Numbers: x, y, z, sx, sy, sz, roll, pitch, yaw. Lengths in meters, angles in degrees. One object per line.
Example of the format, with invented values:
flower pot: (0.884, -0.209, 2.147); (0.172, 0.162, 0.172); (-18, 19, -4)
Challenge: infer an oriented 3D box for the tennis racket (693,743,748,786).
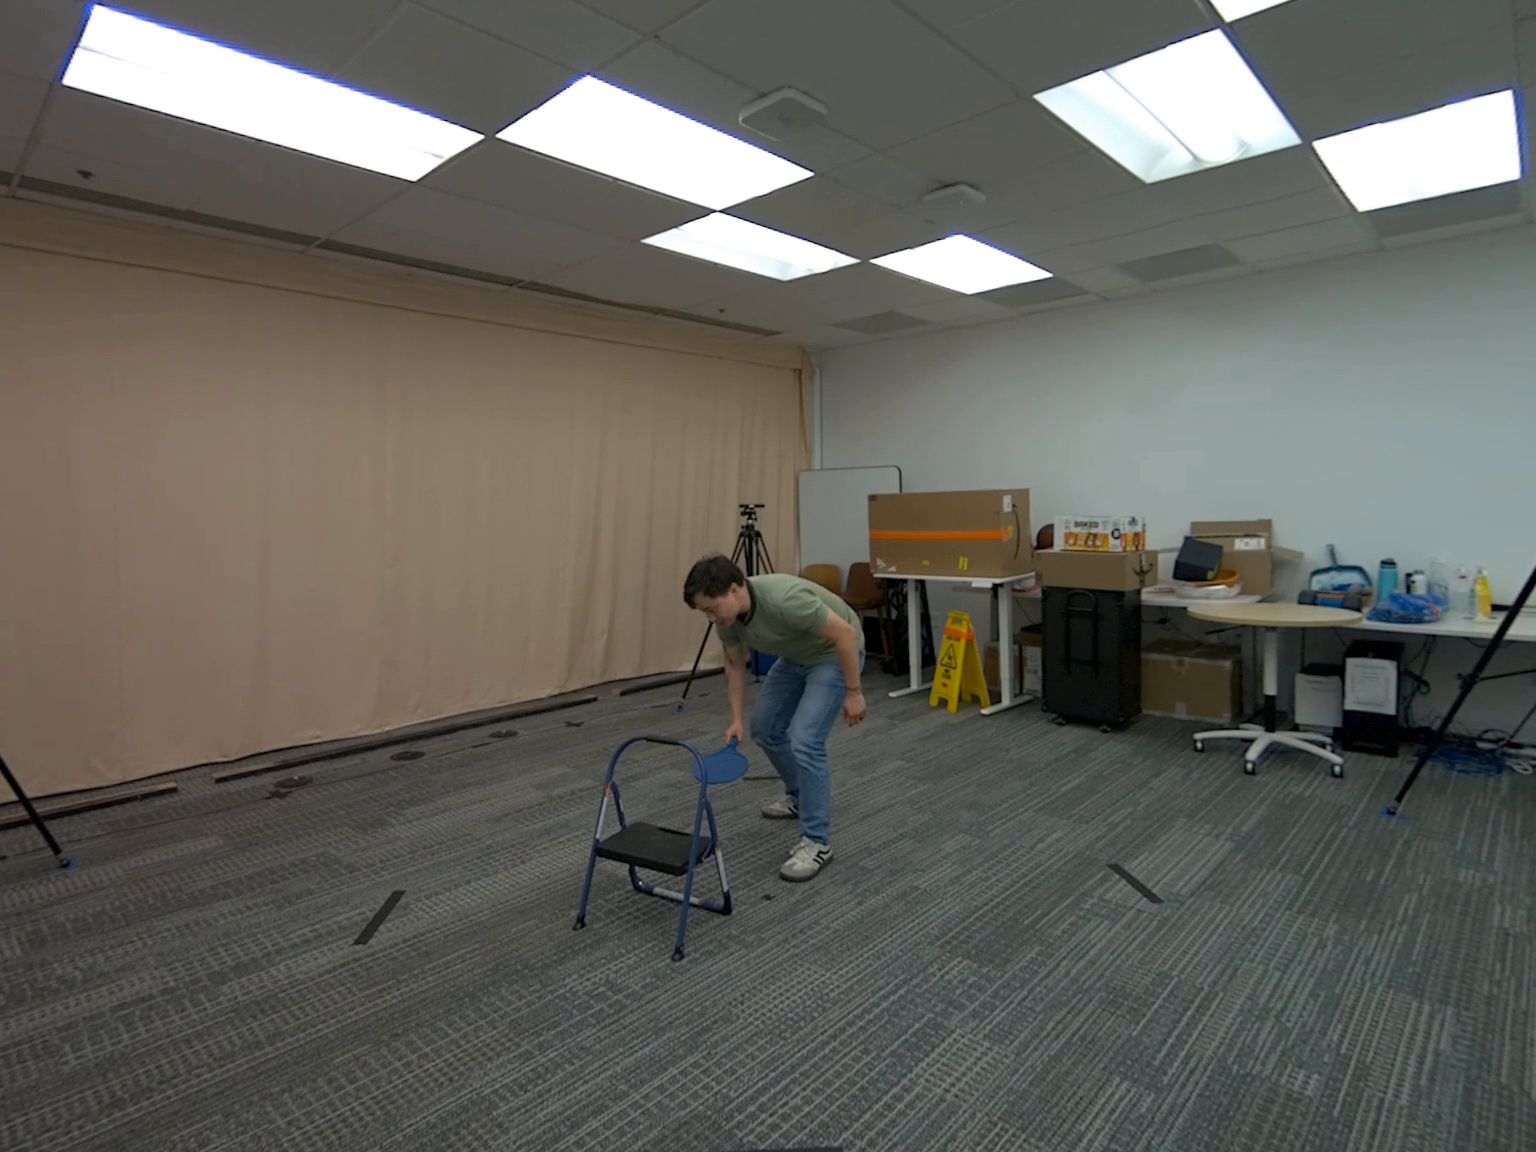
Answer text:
tennis racket: (-0.164, 0.743, 3.318); (0.217, 0.031, 0.430); (-1, 13, 12)
